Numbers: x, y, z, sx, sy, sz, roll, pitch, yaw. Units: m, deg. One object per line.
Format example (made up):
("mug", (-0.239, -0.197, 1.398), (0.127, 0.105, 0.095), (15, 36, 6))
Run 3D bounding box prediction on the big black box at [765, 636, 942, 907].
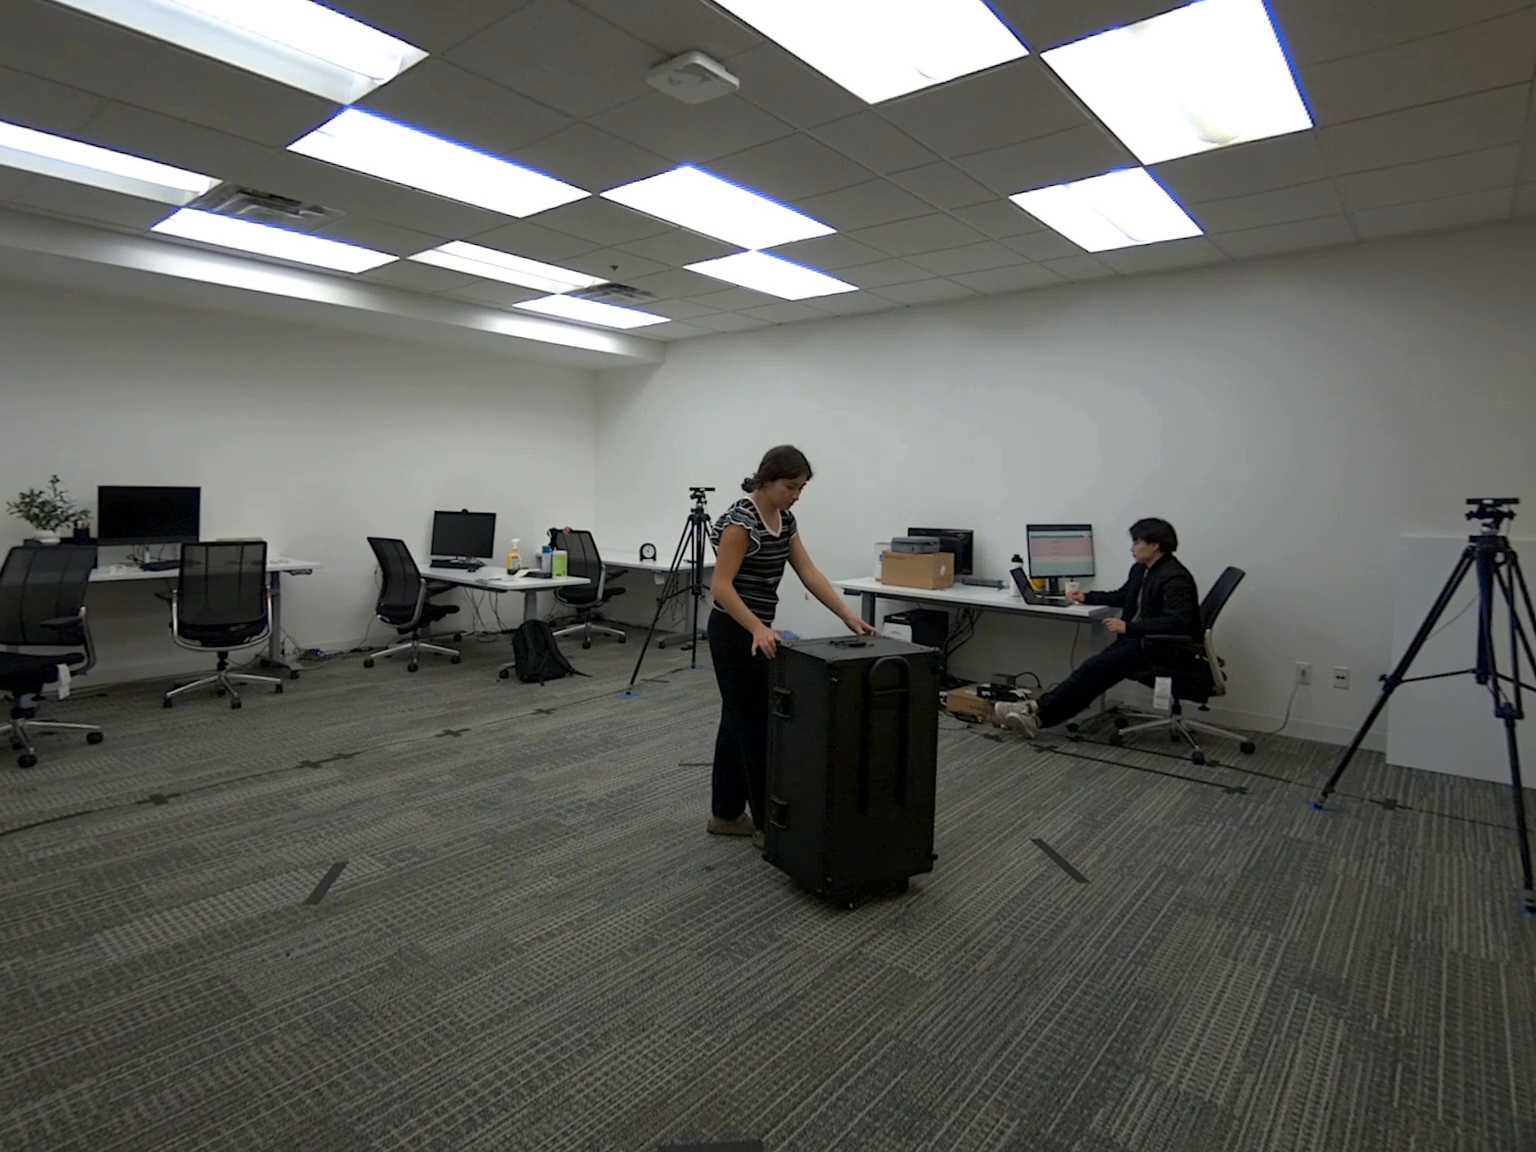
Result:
("big black box", (0.300, 0.669, 2.974), (0.506, 0.859, 0.409), (0, 4, -33))
